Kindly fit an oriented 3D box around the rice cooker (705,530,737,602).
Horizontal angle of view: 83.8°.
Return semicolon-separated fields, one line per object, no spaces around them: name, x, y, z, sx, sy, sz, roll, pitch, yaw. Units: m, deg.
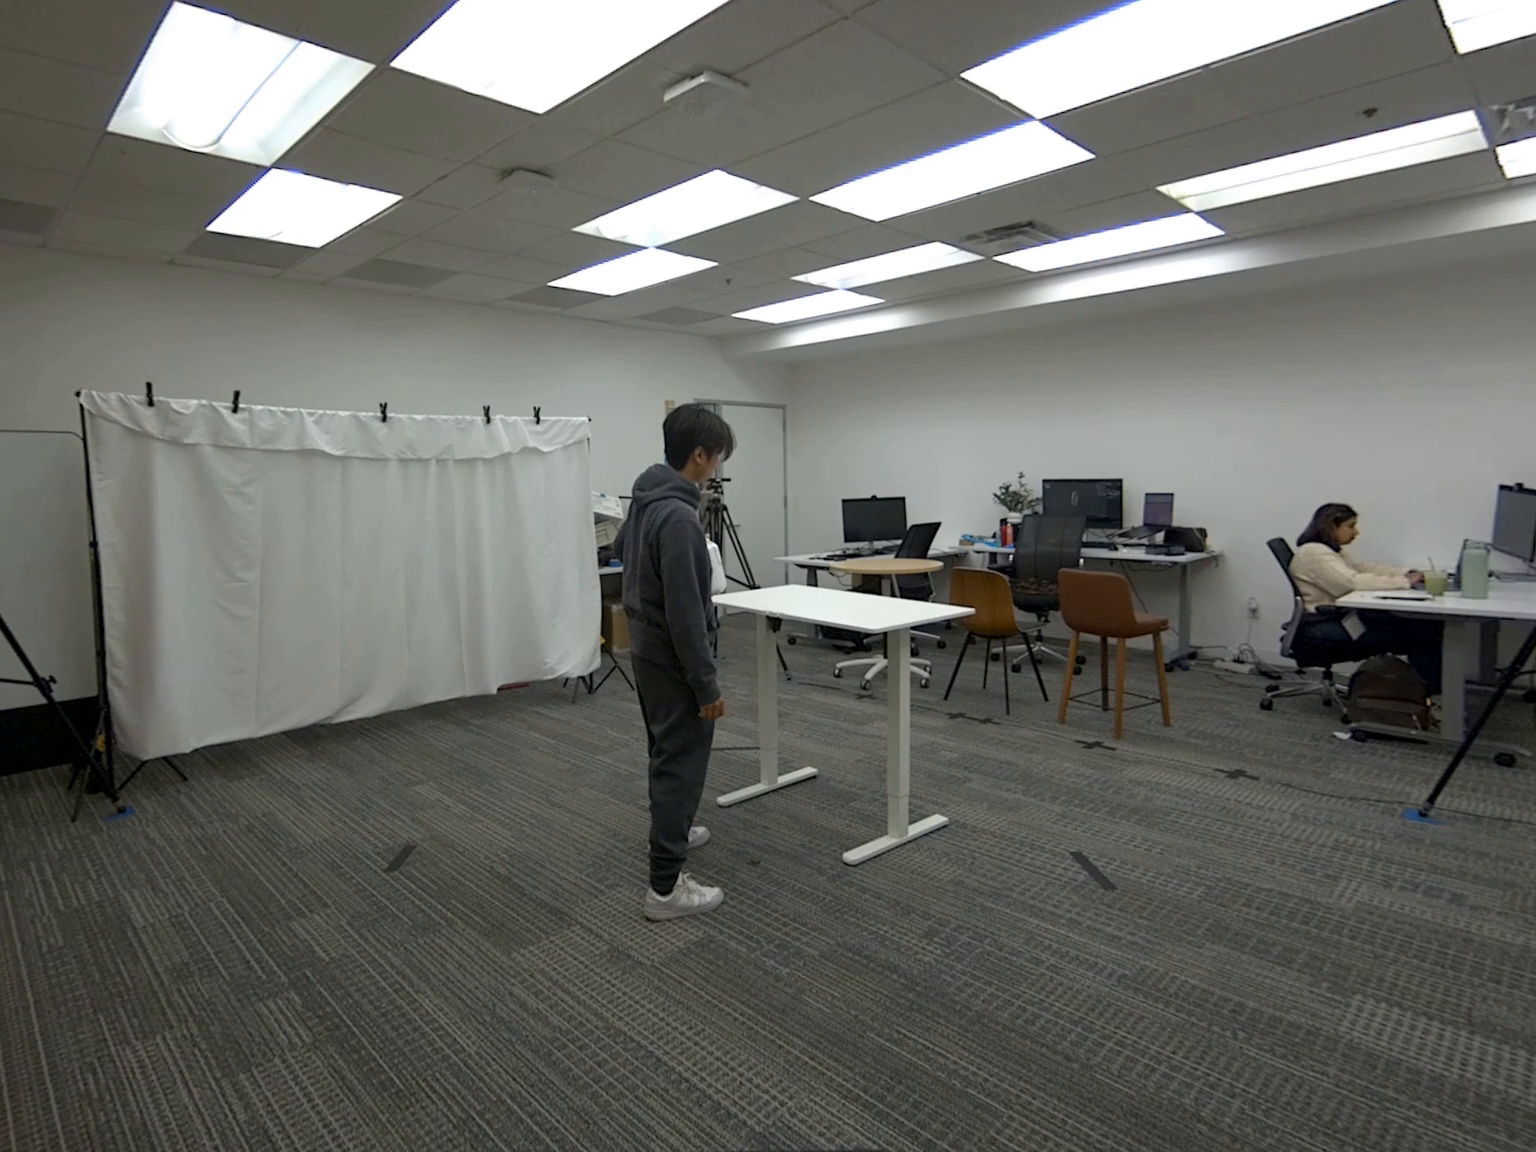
rice cooker;-0.283;-0.030;3.380;0.223;0.231;0.216;-11;9;16
